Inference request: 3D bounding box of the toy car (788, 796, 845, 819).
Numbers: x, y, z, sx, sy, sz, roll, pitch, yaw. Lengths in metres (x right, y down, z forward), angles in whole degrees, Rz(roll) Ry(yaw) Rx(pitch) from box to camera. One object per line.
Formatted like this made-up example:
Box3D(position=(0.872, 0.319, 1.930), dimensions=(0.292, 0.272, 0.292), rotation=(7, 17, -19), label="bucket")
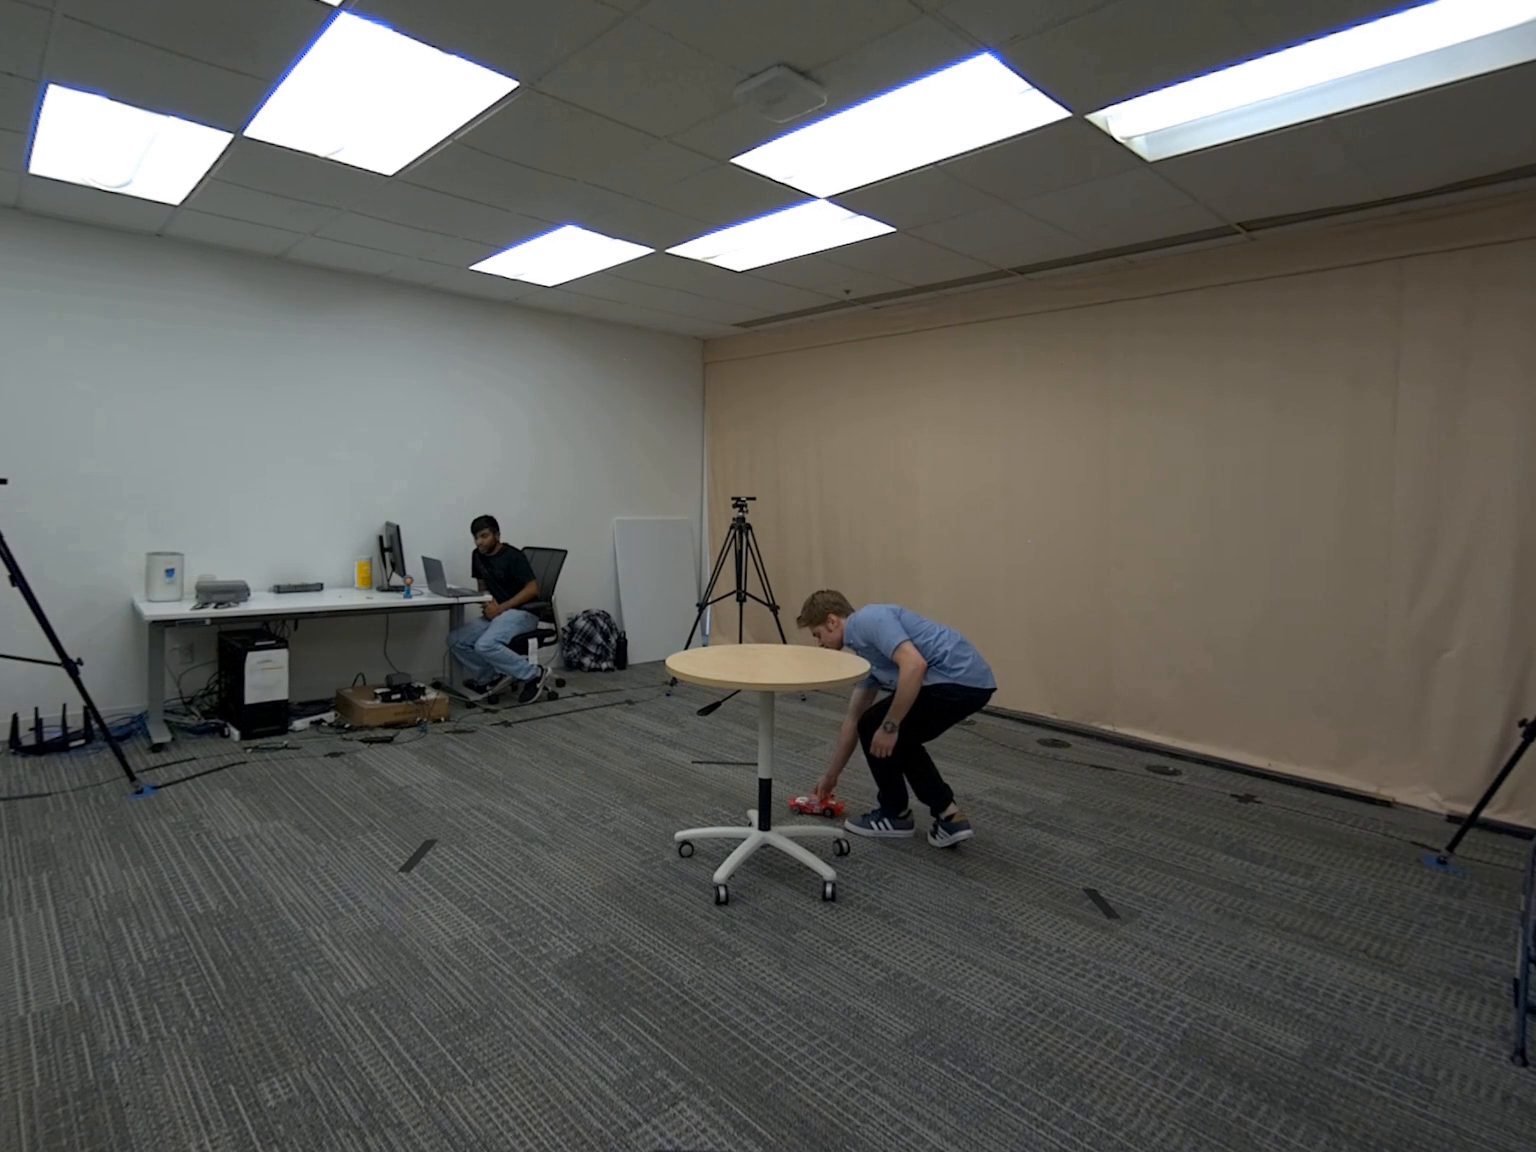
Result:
Box3D(position=(0.219, 1.026, 3.772), dimensions=(0.256, 0.083, 0.129), rotation=(-7, 1, 10), label="toy car")
